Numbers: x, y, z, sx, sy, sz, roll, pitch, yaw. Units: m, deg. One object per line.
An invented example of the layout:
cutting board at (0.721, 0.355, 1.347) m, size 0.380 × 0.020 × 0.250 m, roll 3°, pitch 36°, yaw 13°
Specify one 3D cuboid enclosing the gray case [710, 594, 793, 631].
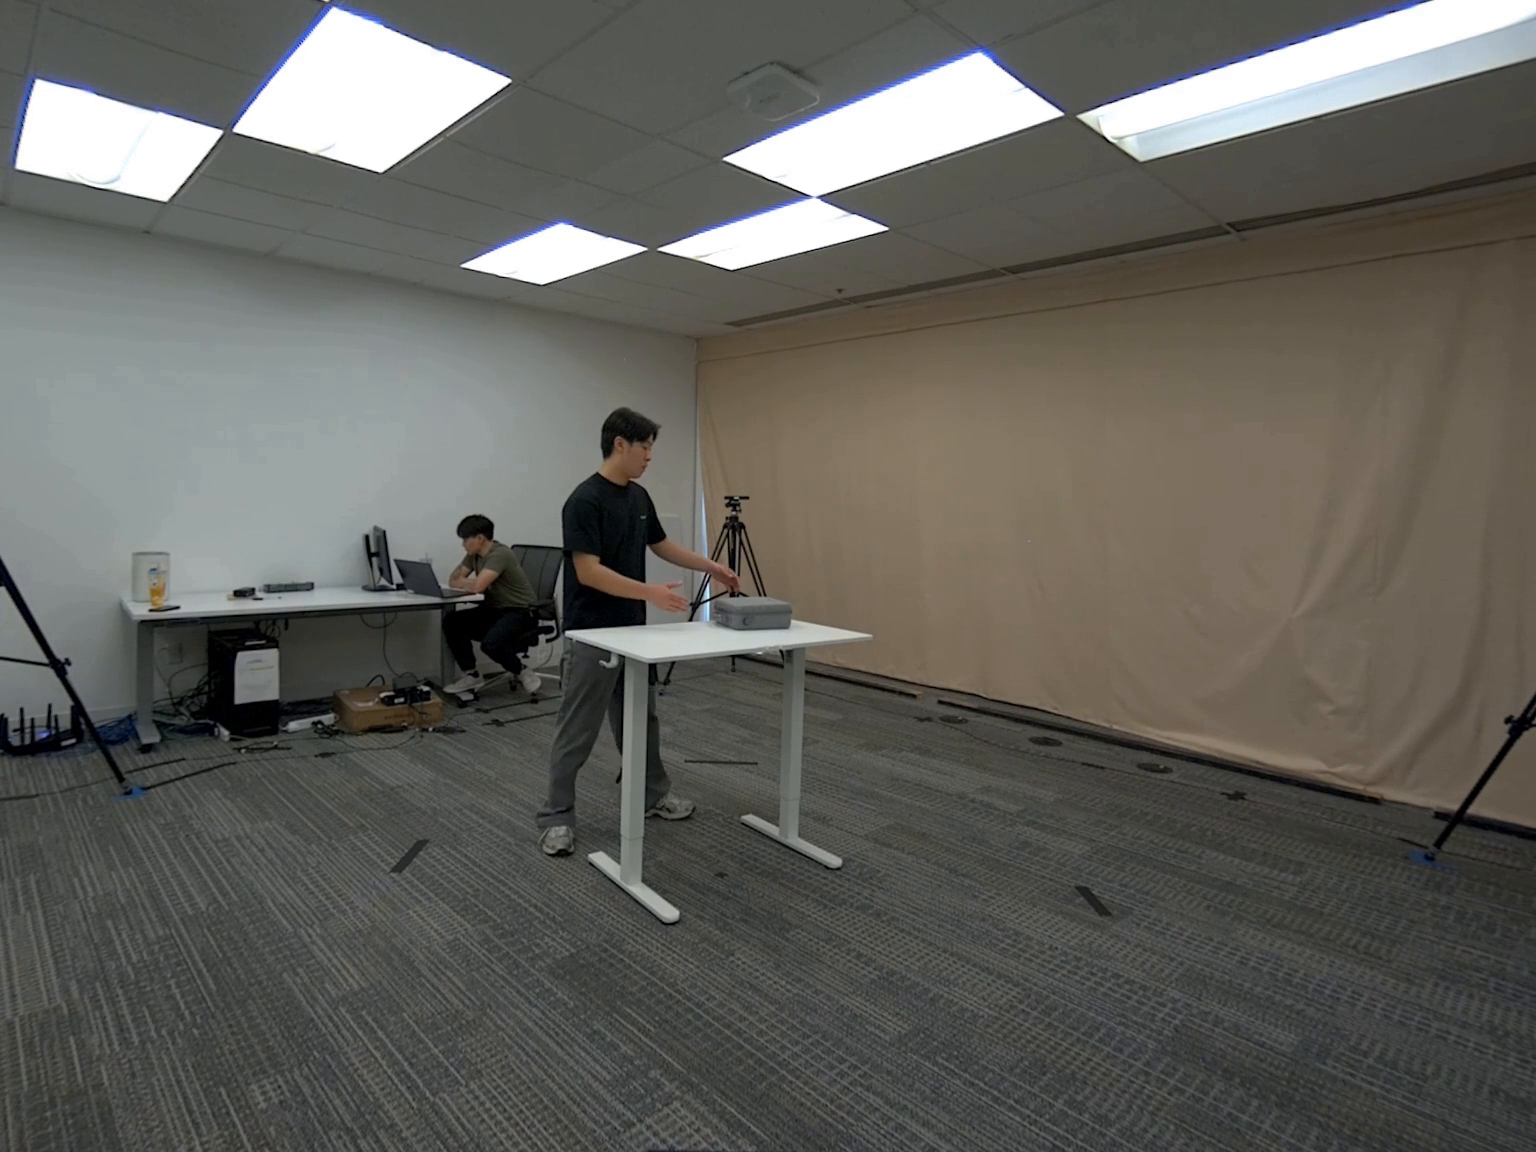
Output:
gray case at (-0.079, 0.148, 3.371) m, size 0.282 × 0.103 × 0.268 m, roll -1°, pitch 6°, yaw -23°
